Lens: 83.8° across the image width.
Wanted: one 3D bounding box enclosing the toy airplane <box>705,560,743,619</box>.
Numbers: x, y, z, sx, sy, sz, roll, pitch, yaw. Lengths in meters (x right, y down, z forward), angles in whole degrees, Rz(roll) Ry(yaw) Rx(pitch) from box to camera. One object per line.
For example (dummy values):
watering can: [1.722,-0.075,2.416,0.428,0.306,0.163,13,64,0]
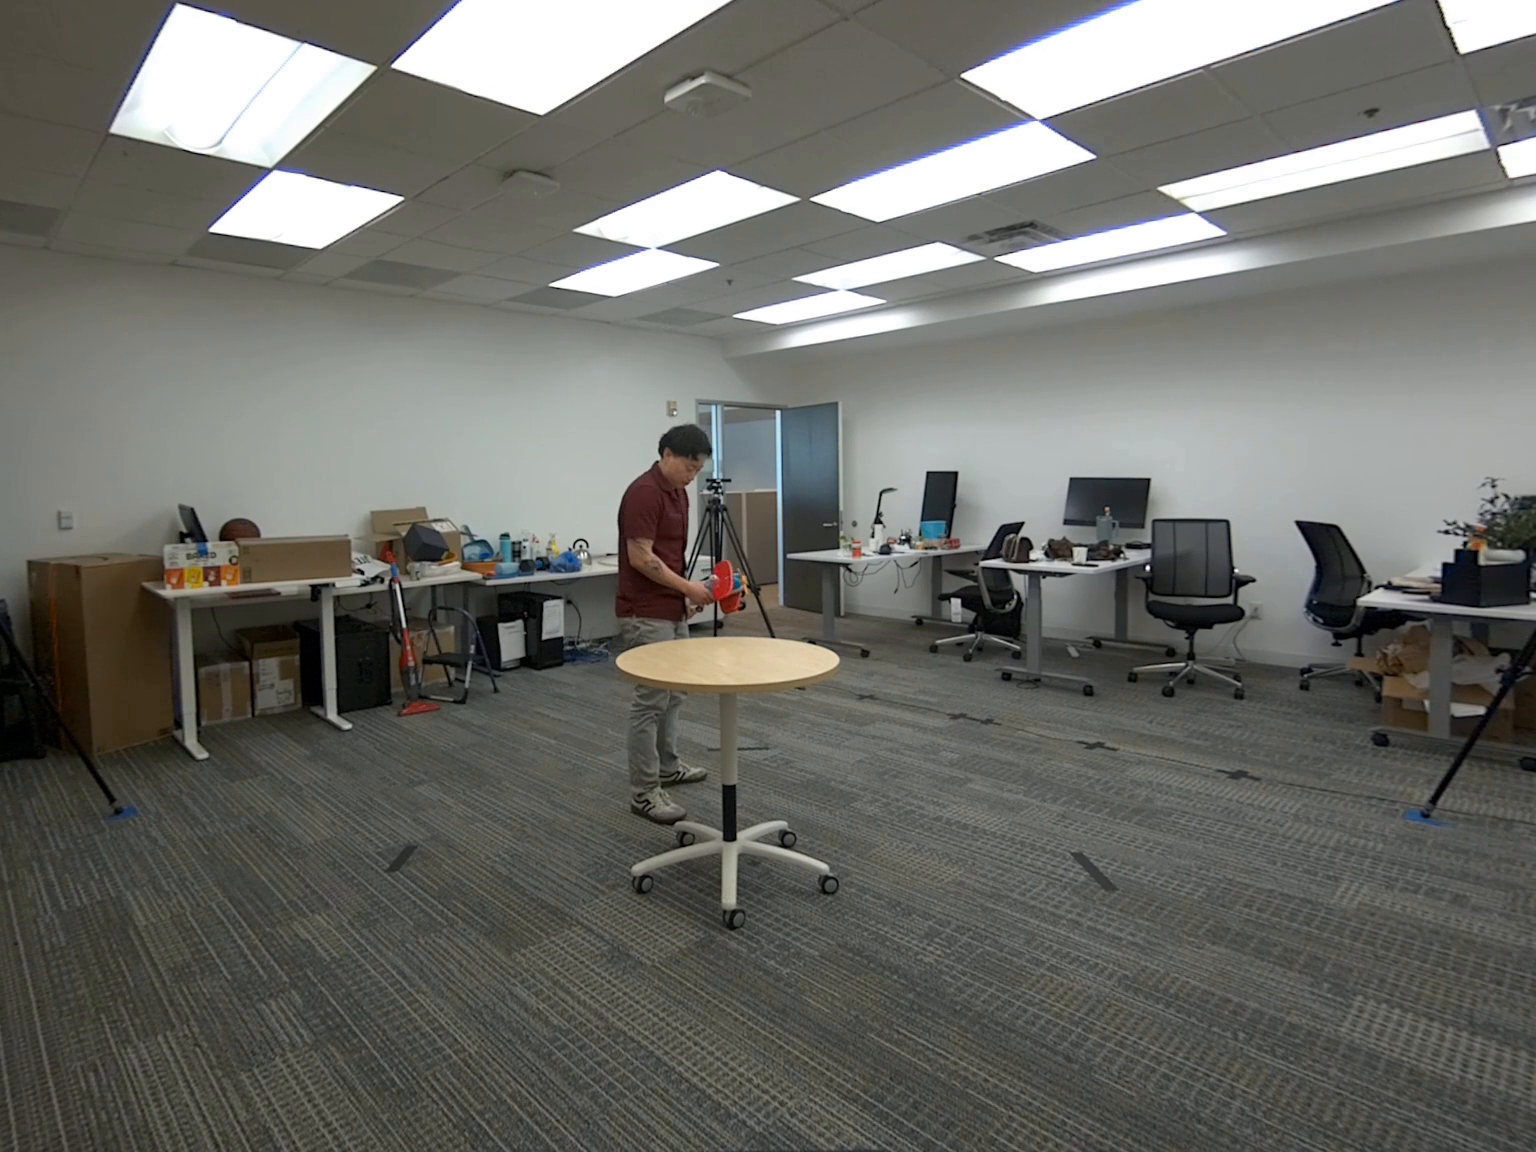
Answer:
toy airplane: [-0.218,0.076,3.630,0.257,0.152,0.261,-24,36,-16]
